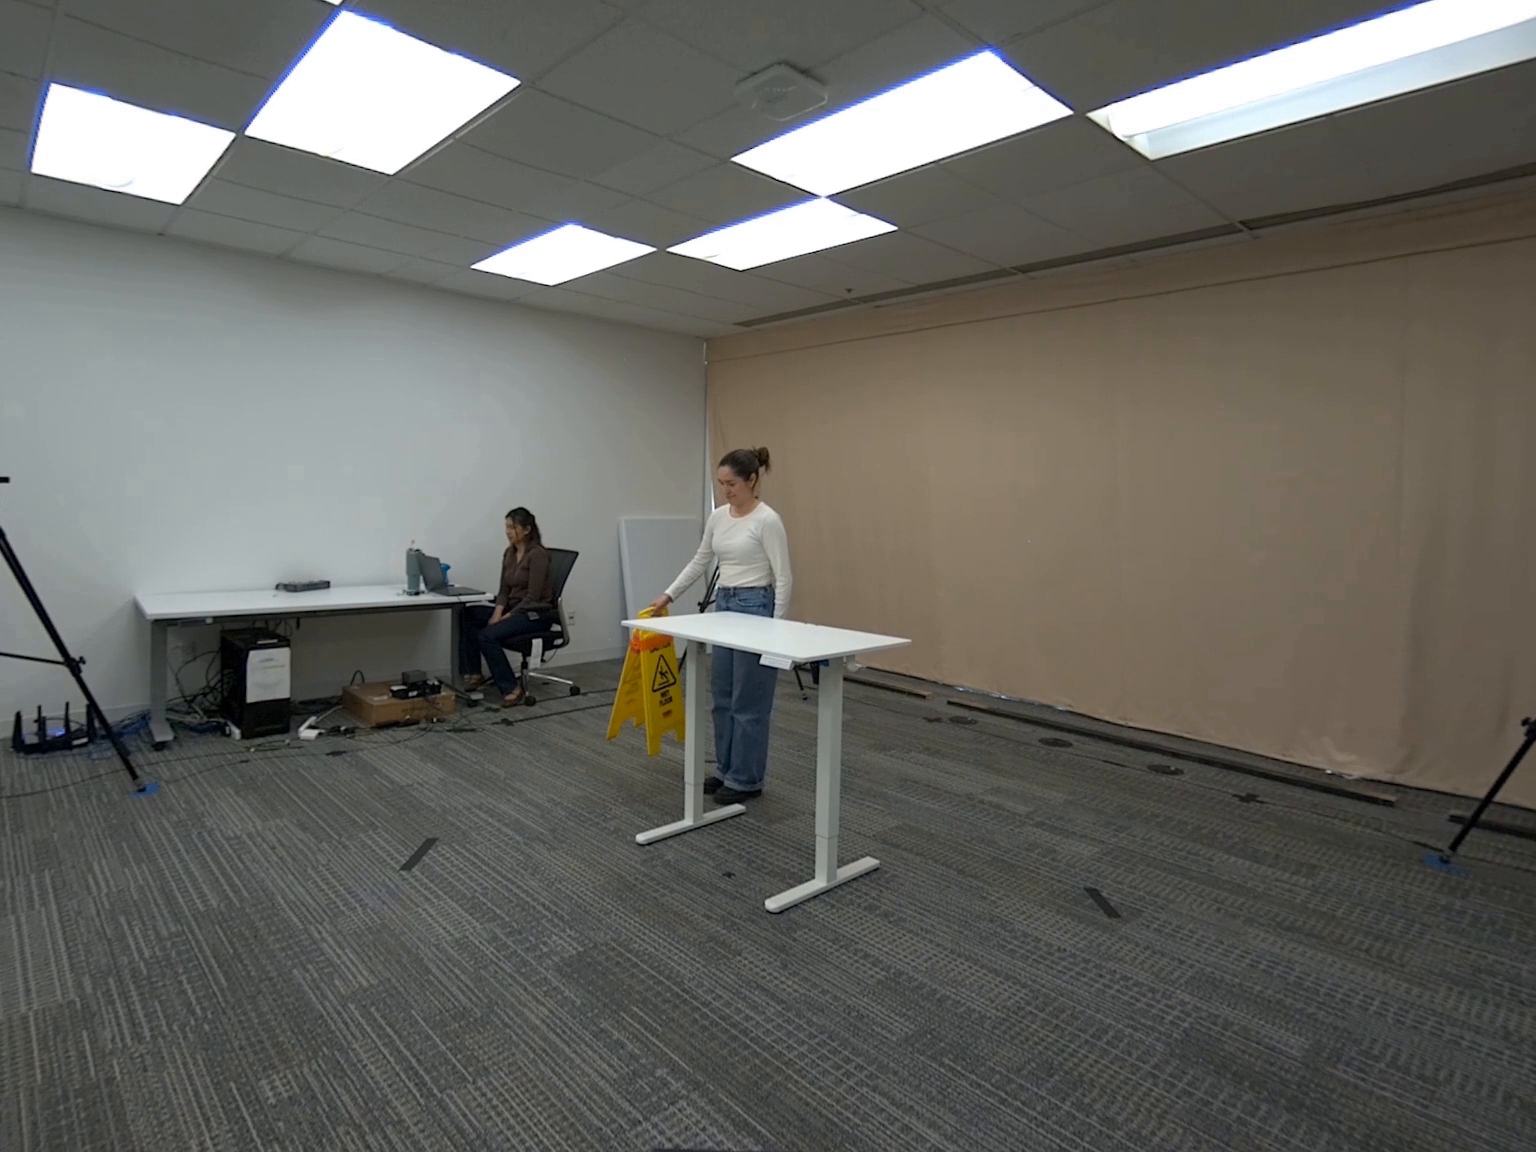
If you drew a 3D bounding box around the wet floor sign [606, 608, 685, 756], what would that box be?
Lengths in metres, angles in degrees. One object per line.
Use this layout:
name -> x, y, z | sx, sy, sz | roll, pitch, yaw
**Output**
wet floor sign -> -0.574, 0.471, 3.958 | 0.297, 0.642, 0.277 | 9, 11, 30
